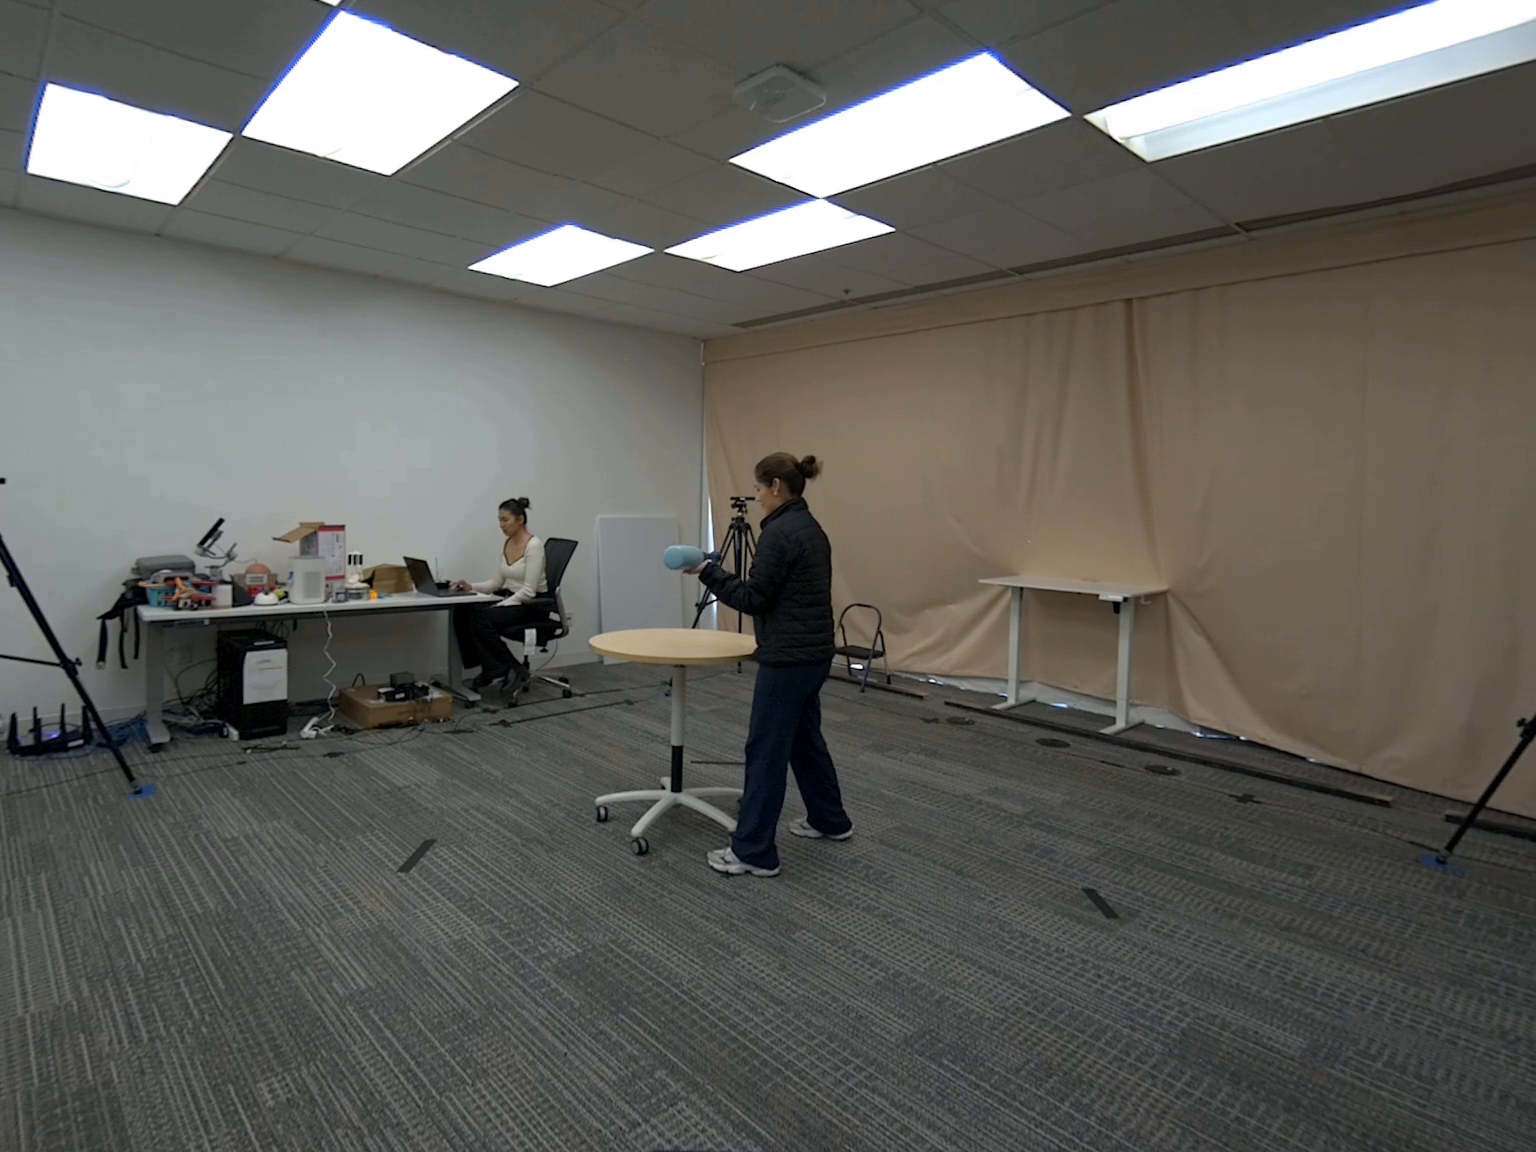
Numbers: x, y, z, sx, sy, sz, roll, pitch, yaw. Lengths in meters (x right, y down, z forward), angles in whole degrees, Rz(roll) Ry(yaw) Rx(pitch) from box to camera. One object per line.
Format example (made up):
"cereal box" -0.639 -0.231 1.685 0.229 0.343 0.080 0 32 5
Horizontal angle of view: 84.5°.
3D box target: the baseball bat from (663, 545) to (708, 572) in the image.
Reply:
"baseball bat" -0.271 -0.071 3.201 0.090 0.089 0.537 2 3 13
